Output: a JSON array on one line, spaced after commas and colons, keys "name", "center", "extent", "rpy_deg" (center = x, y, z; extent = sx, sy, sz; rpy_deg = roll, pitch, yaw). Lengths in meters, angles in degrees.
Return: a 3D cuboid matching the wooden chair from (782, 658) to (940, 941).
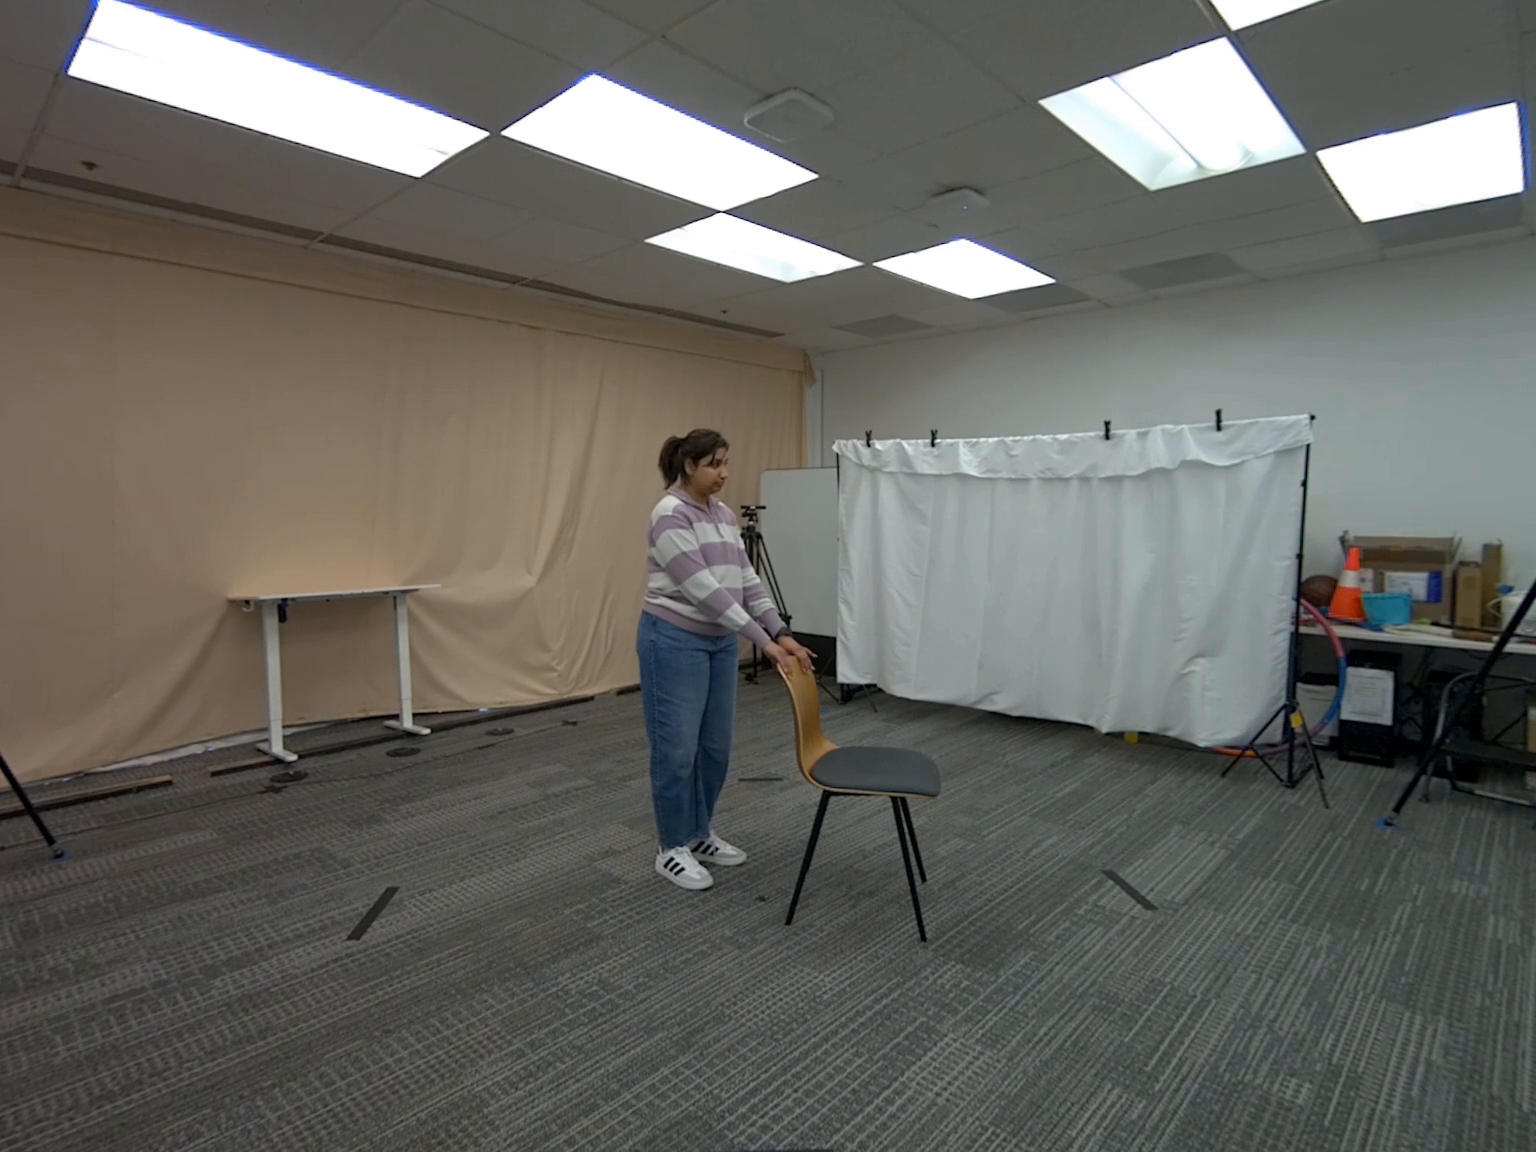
[{"name": "wooden chair", "center": [0.329, 0.718, 2.919], "extent": [0.531, 0.876, 0.472], "rpy_deg": [-3, 3, 13]}]
